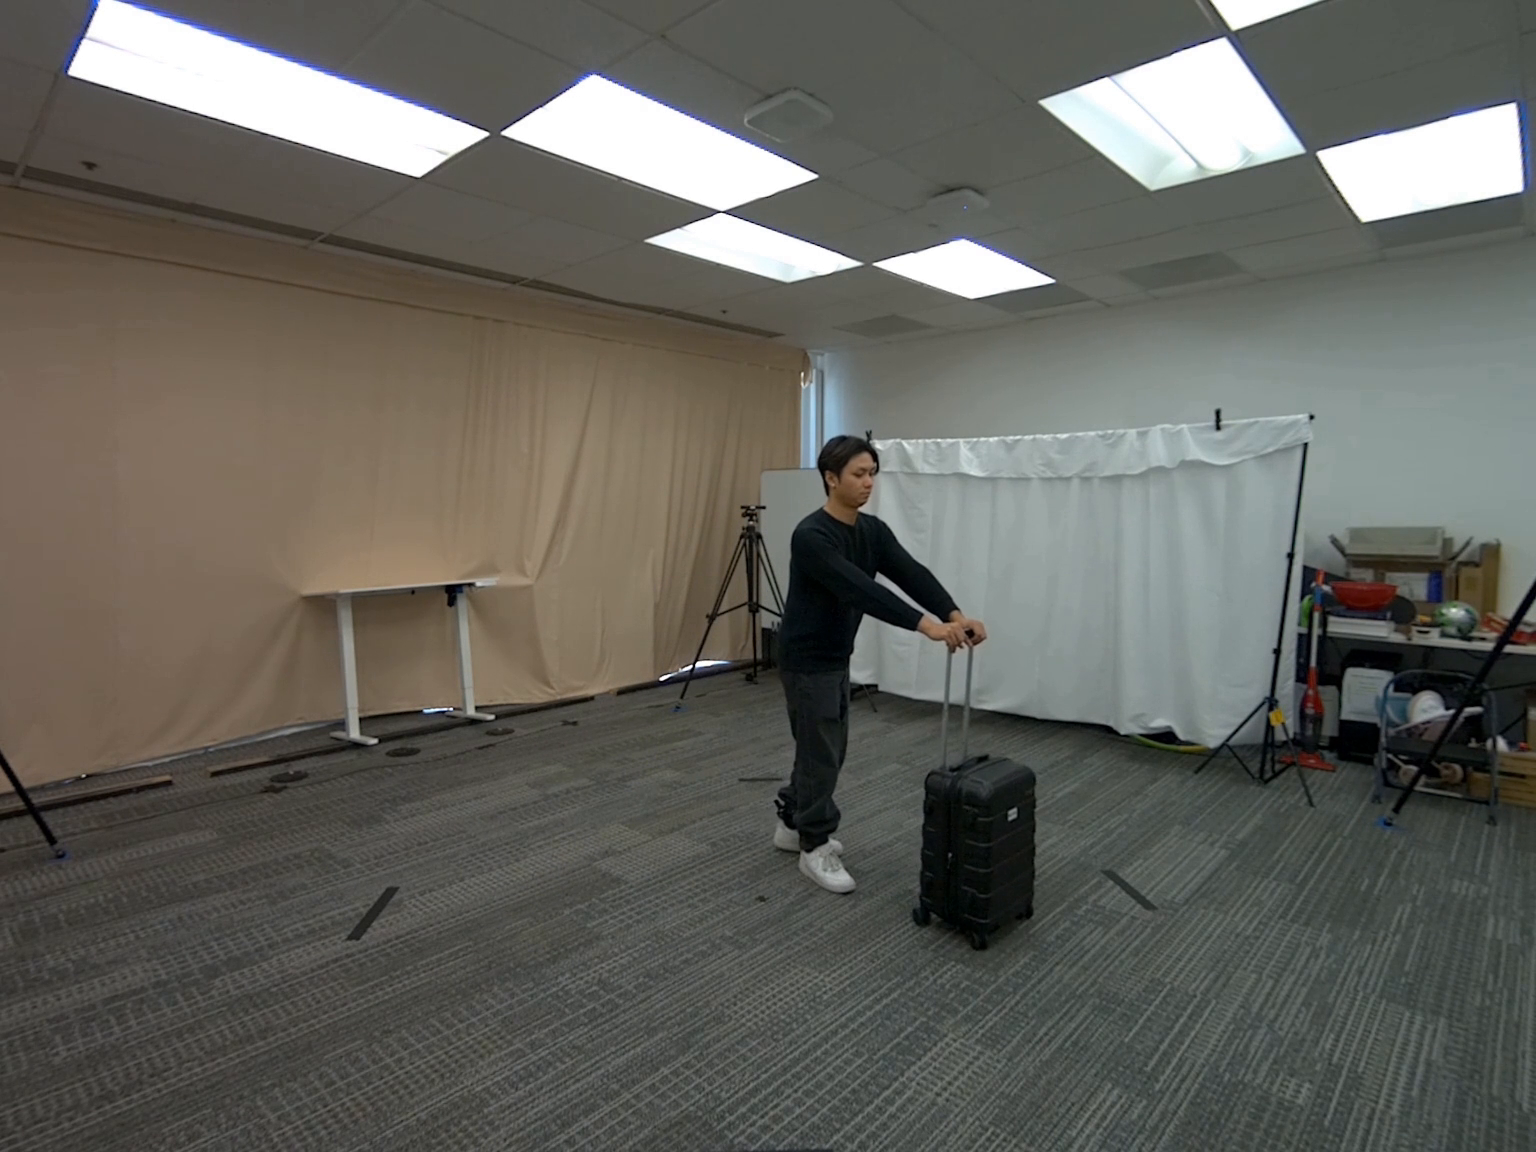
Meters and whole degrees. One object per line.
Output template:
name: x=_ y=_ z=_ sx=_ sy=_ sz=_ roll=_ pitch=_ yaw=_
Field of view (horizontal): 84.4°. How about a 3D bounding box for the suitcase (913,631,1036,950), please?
suitcase: x=0.717 y=0.688 z=2.763 sx=0.266 sy=0.975 sz=0.372 roll=8 pitch=9 yaw=43
